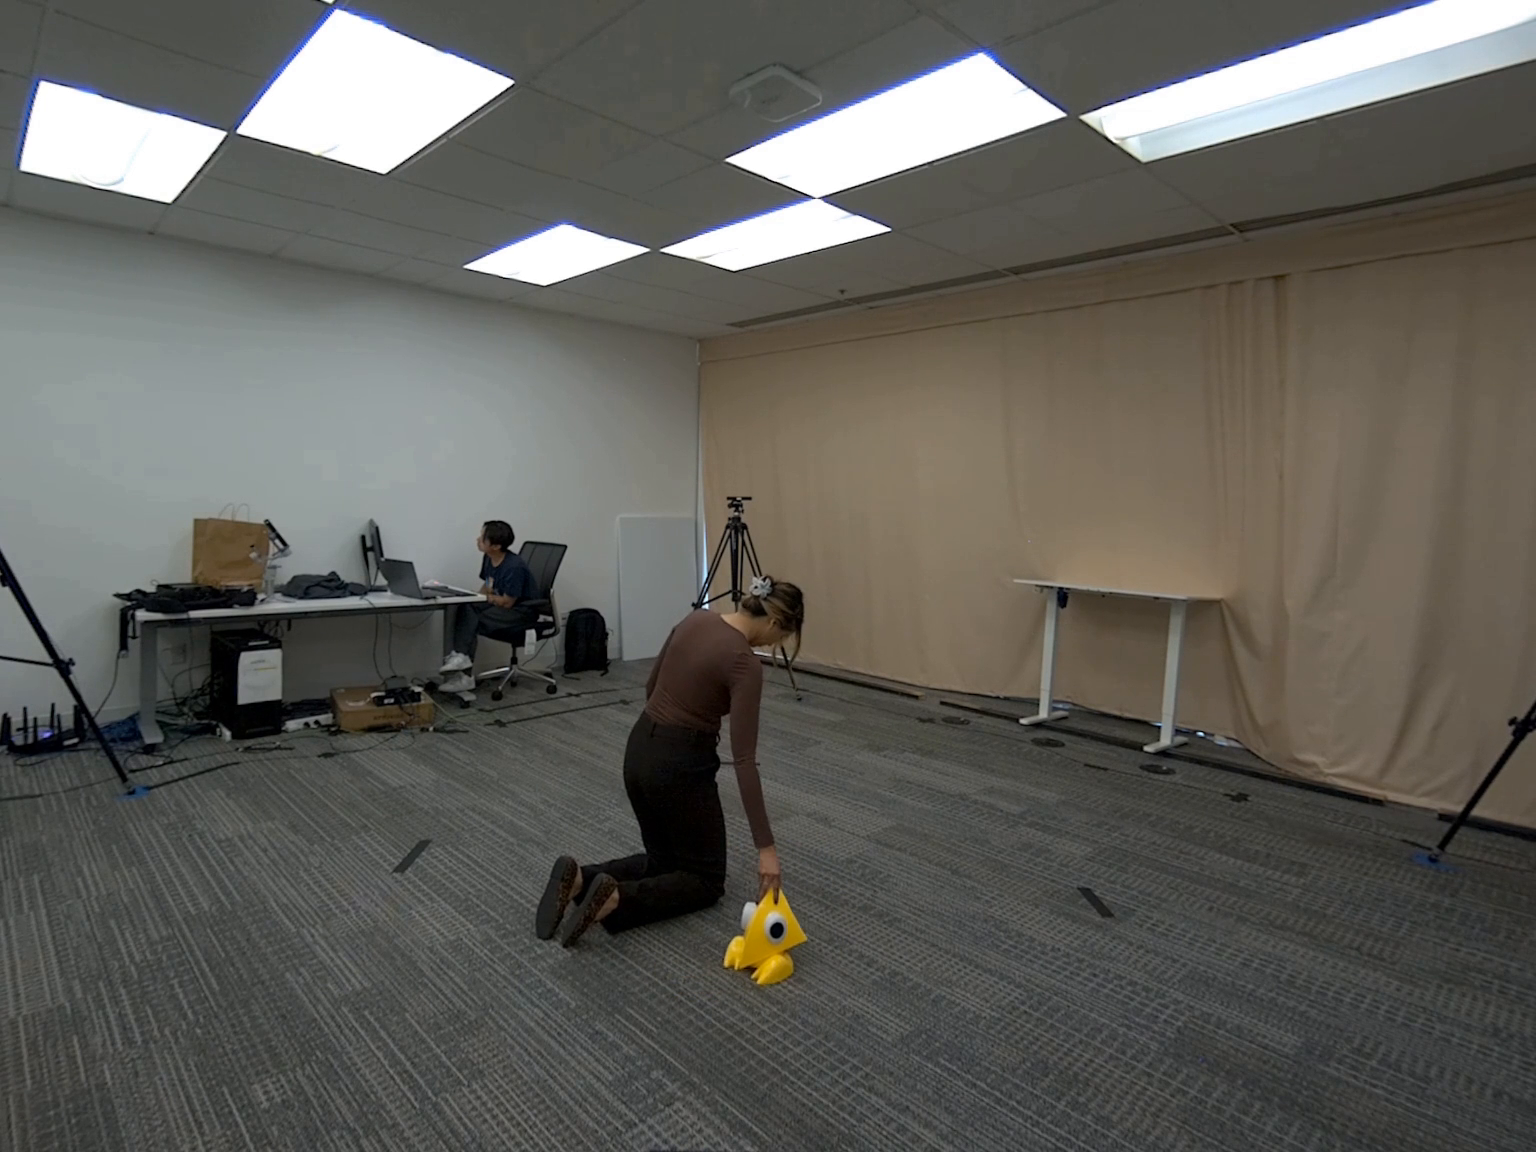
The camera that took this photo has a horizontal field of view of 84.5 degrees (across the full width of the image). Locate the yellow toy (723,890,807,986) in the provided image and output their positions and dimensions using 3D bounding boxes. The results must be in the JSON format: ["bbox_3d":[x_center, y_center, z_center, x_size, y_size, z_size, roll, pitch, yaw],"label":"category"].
[{"bbox_3d":[-0.022,1.052,2.512,0.210,0.230,0.189,6,6,40],"label":"yellow toy"}]
